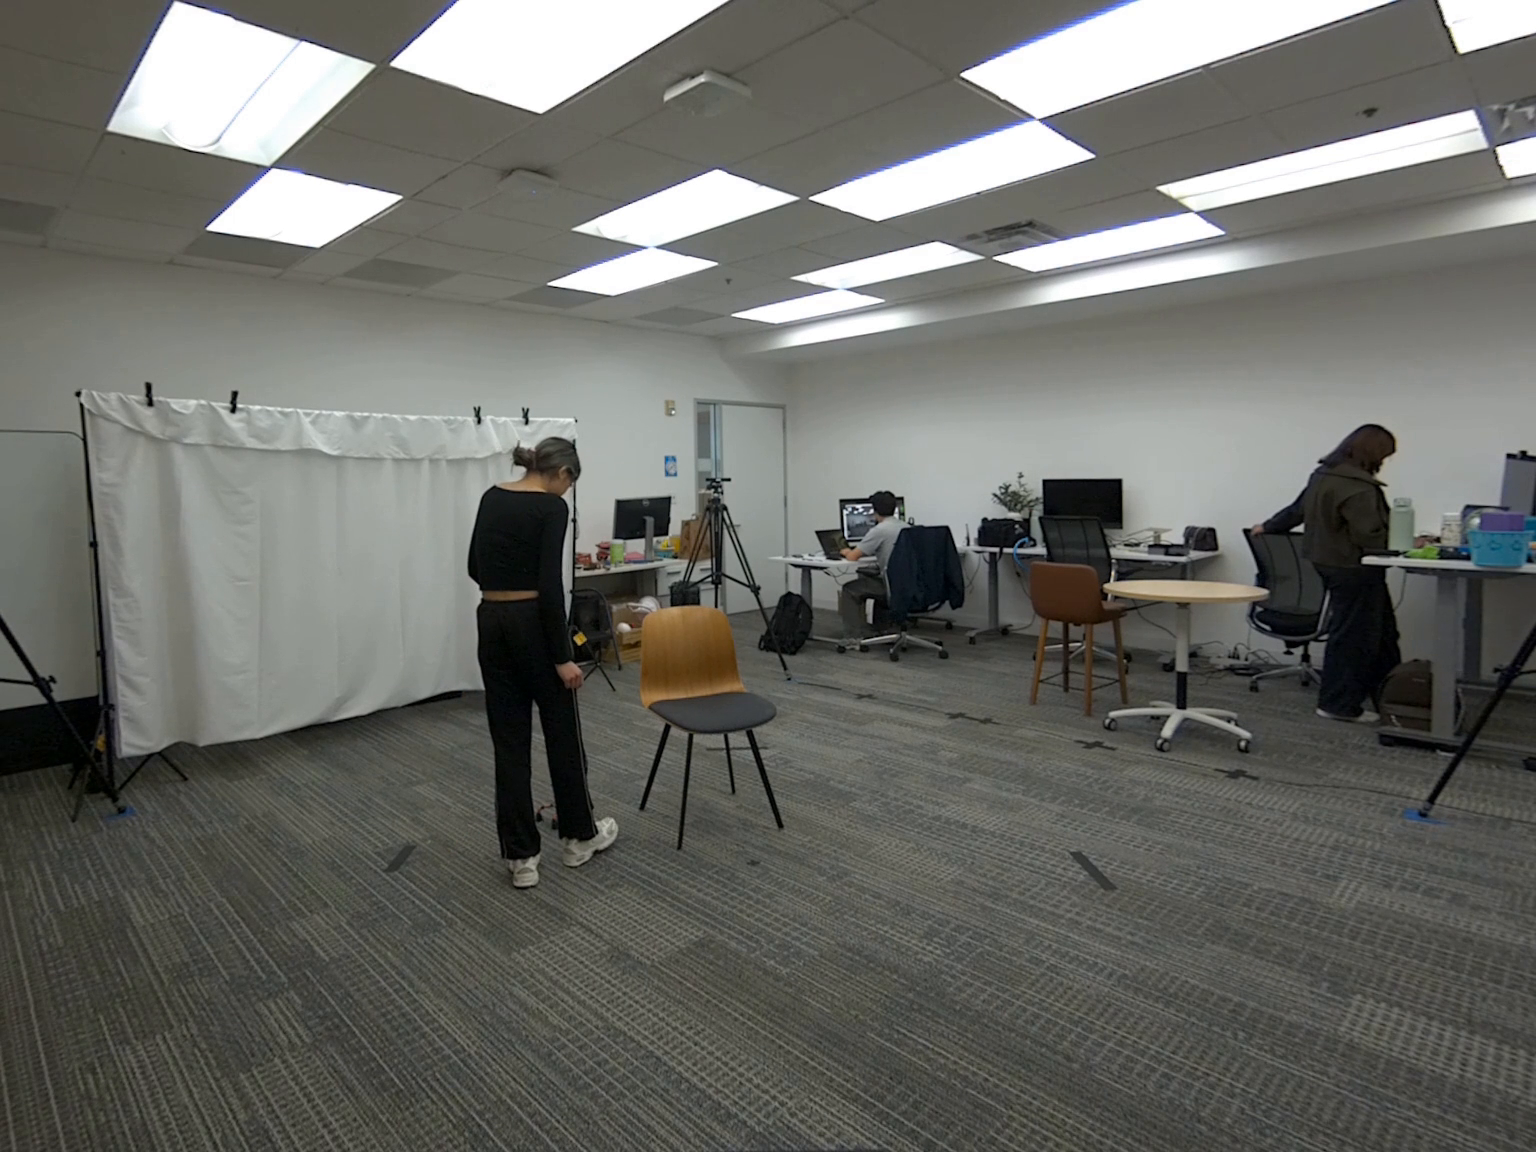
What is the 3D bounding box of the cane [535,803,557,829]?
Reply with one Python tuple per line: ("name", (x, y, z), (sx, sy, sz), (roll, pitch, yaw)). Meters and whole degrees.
("cane", (-0.906, 0.552, 3.485), (0.156, 0.899, 0.202), (2, 13, 44))
